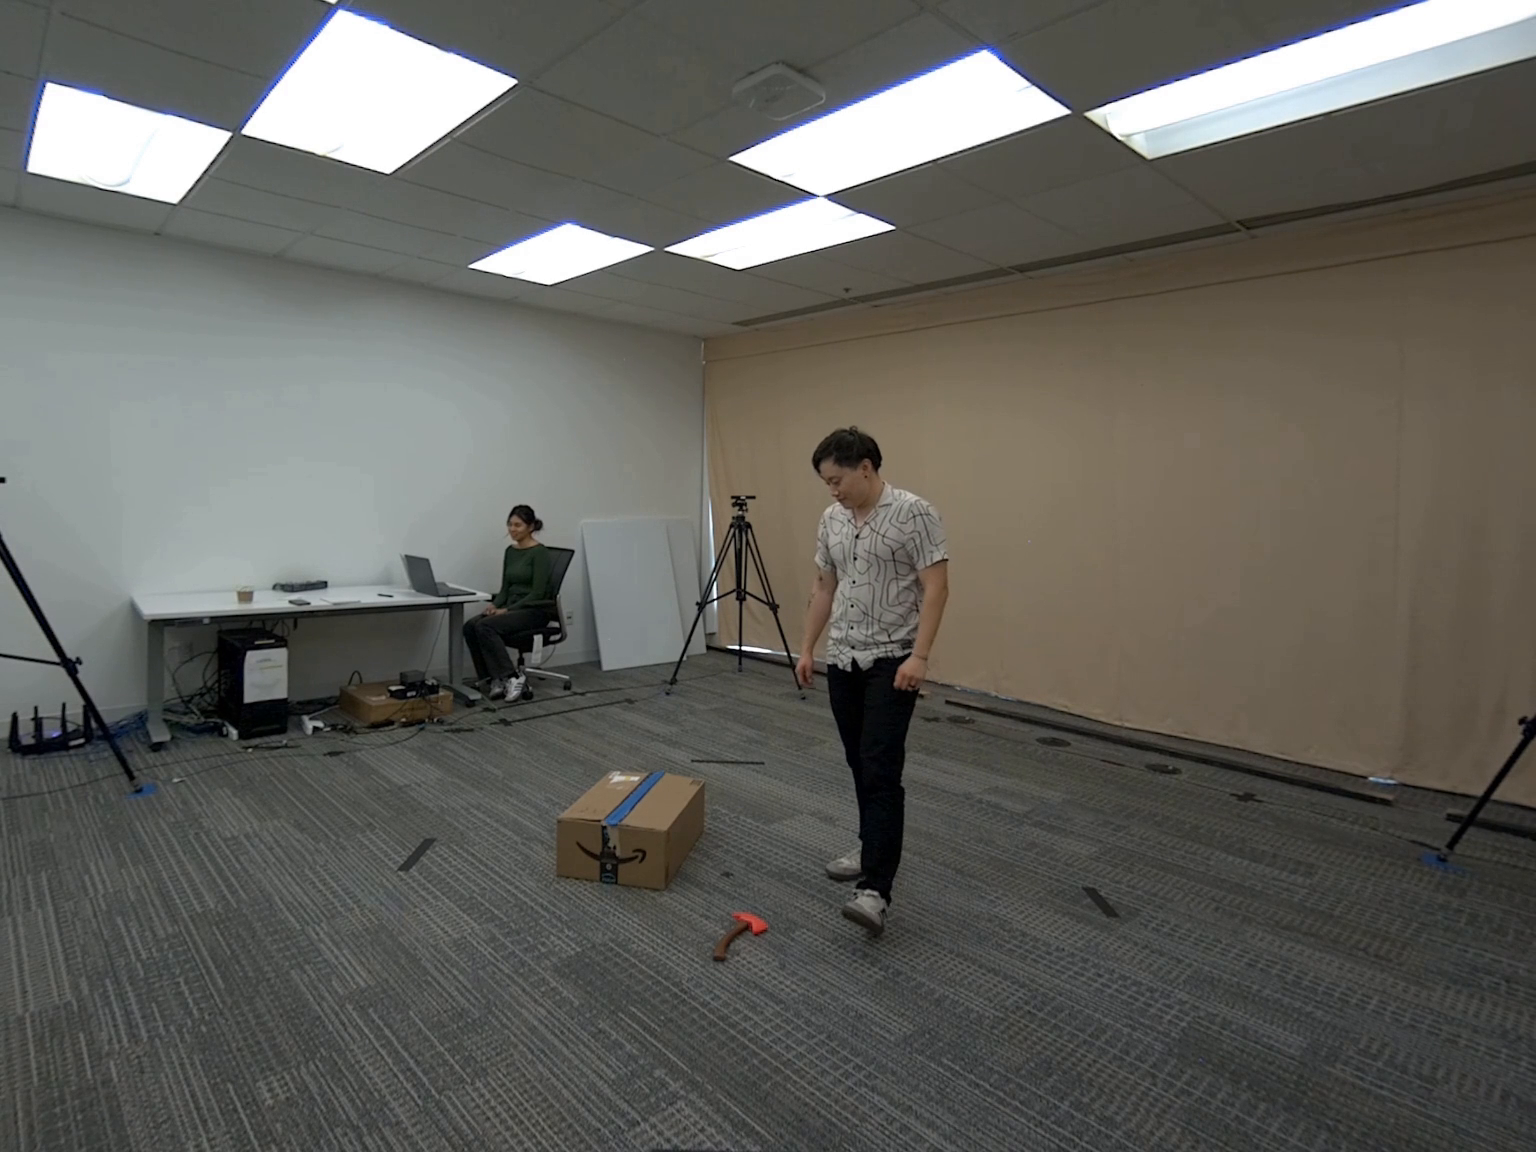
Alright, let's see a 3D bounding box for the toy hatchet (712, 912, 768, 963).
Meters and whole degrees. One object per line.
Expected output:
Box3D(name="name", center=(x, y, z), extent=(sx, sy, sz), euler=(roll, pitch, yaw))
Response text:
Box3D(name="toy hatchet", center=(-0.086, 1.134, 2.629), extent=(0.132, 0.029, 0.268), euler=(5, 7, 11))
